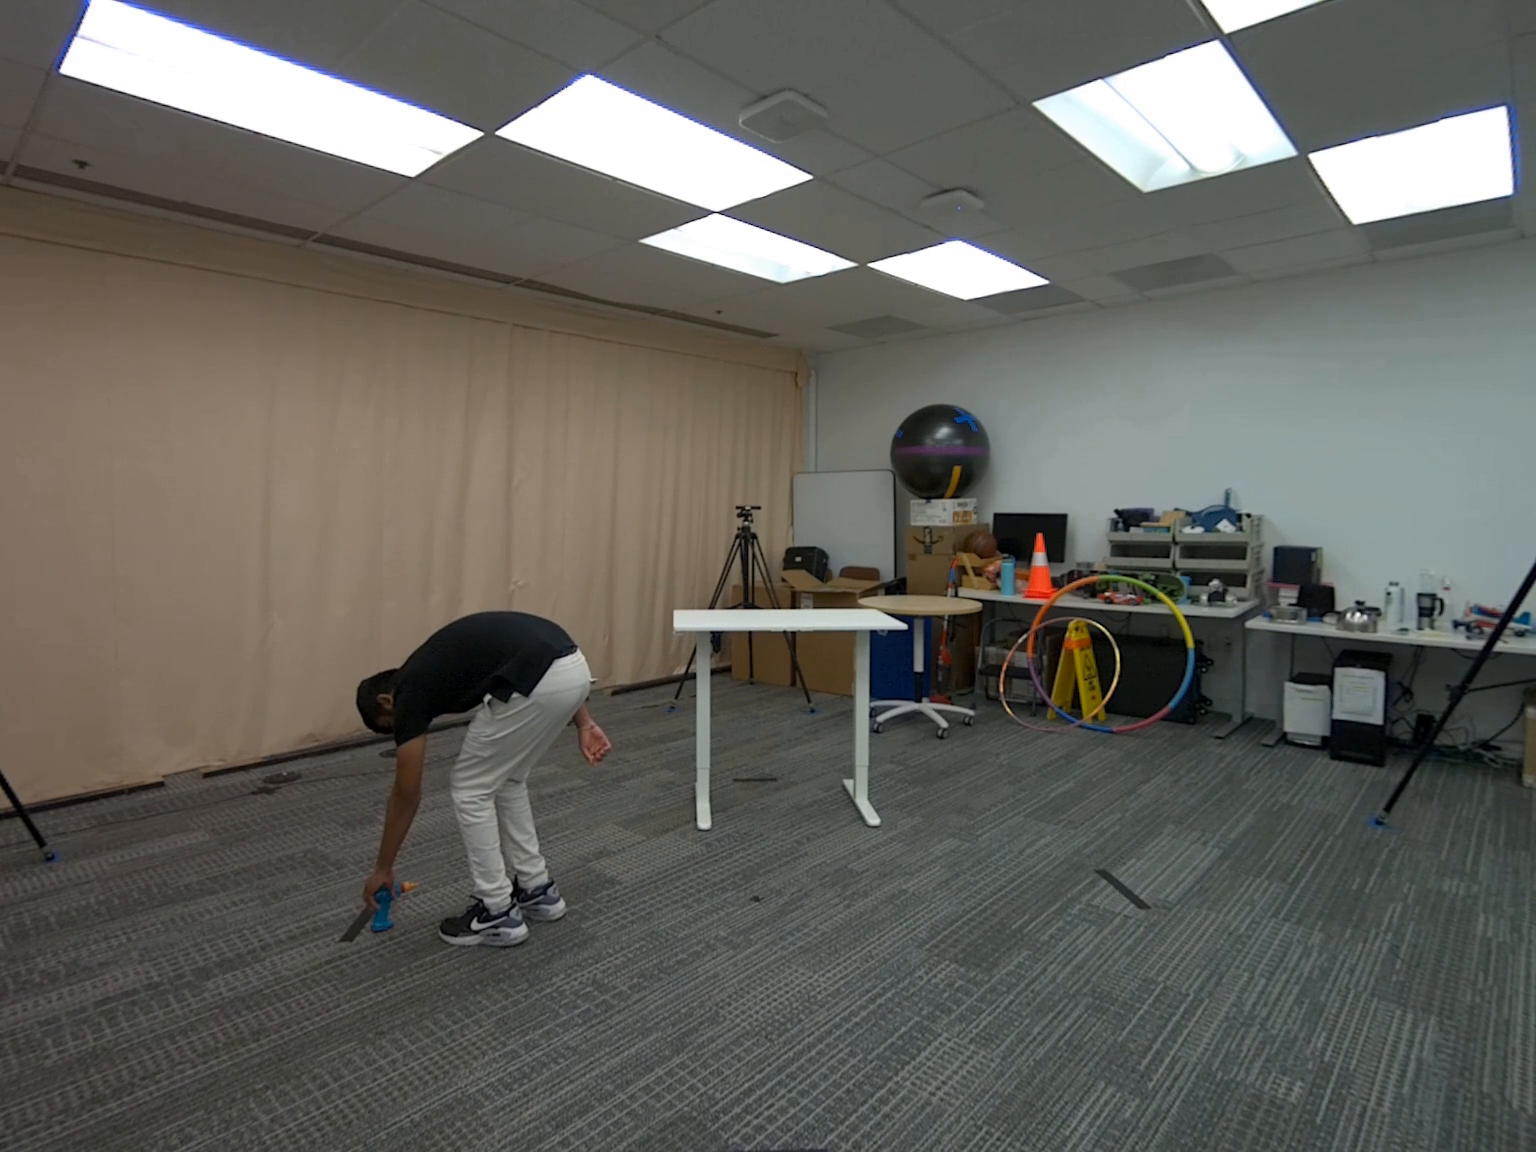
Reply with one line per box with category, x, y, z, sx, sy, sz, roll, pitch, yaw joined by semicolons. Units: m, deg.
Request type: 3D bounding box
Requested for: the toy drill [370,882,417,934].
toy drill;-1.261;1.092;2.816;0.063;0.146;0.165;3;5;38
